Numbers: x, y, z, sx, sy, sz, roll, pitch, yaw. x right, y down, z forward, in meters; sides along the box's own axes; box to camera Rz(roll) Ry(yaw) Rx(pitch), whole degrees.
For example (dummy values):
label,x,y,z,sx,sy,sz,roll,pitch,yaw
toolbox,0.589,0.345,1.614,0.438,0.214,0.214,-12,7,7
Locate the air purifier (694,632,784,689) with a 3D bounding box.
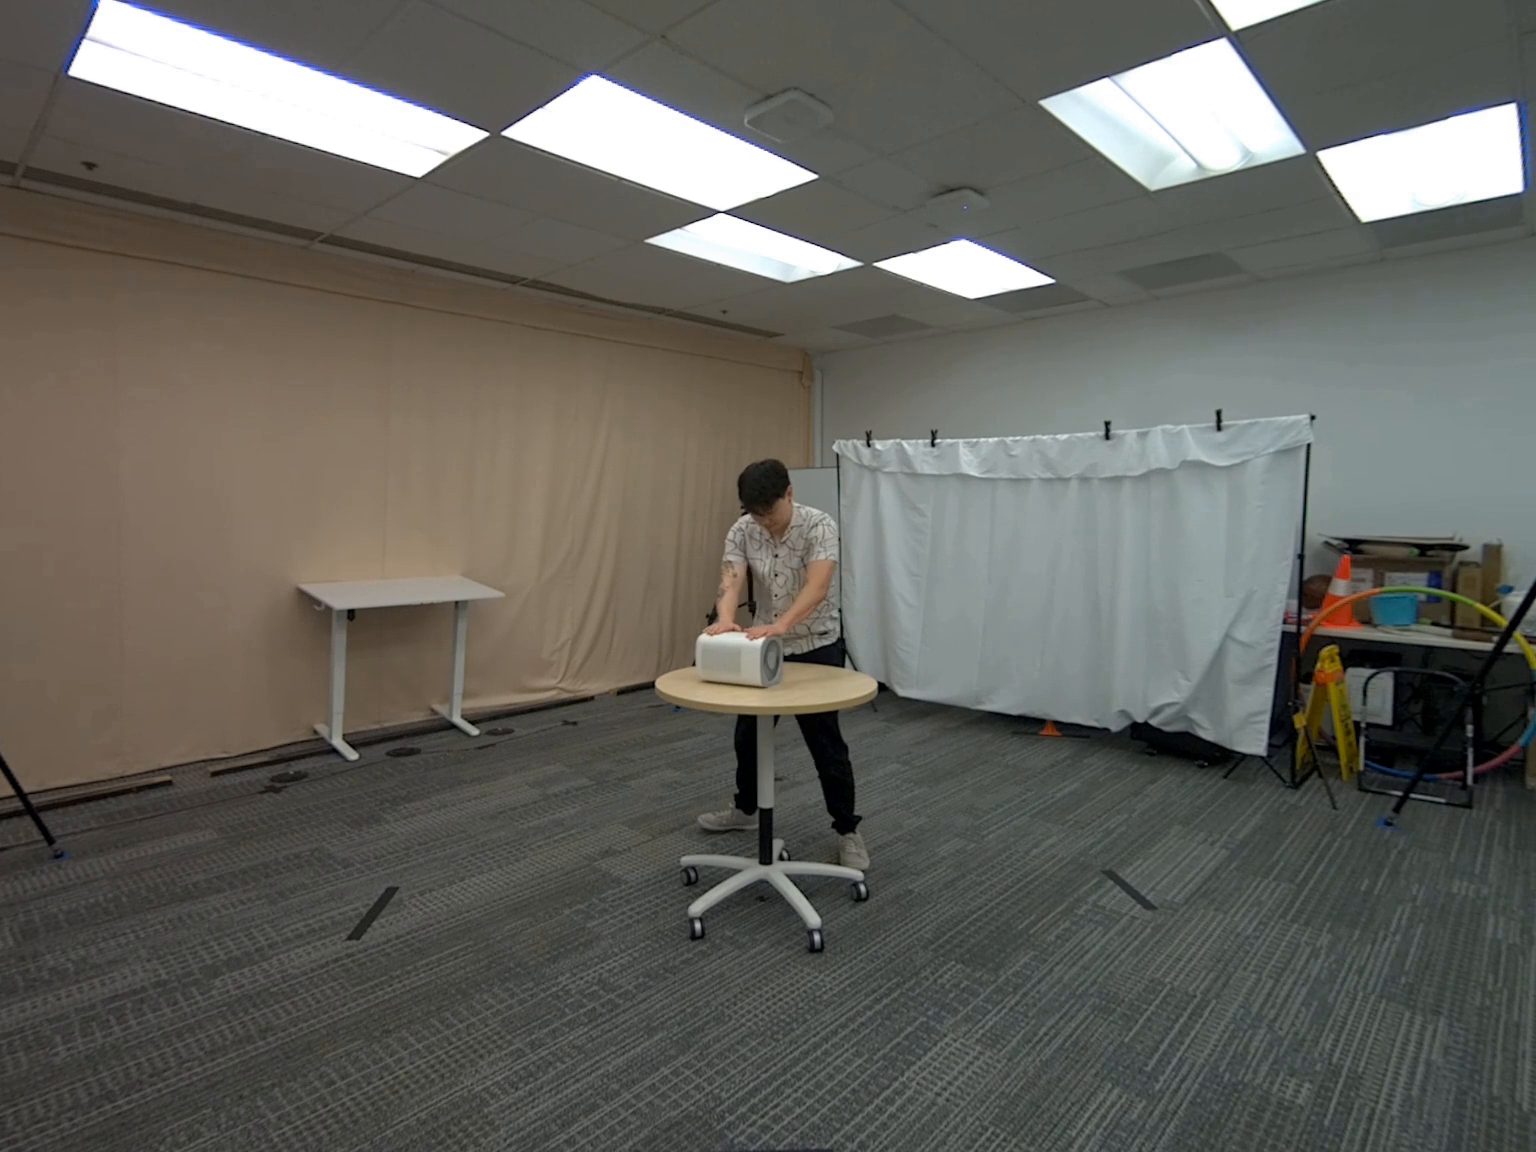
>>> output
label,x,y,z,sx,sy,sz,roll,pitch,yaw
air purifier,-0.101,0.279,2.905,0.273,0.171,0.167,2,3,28
